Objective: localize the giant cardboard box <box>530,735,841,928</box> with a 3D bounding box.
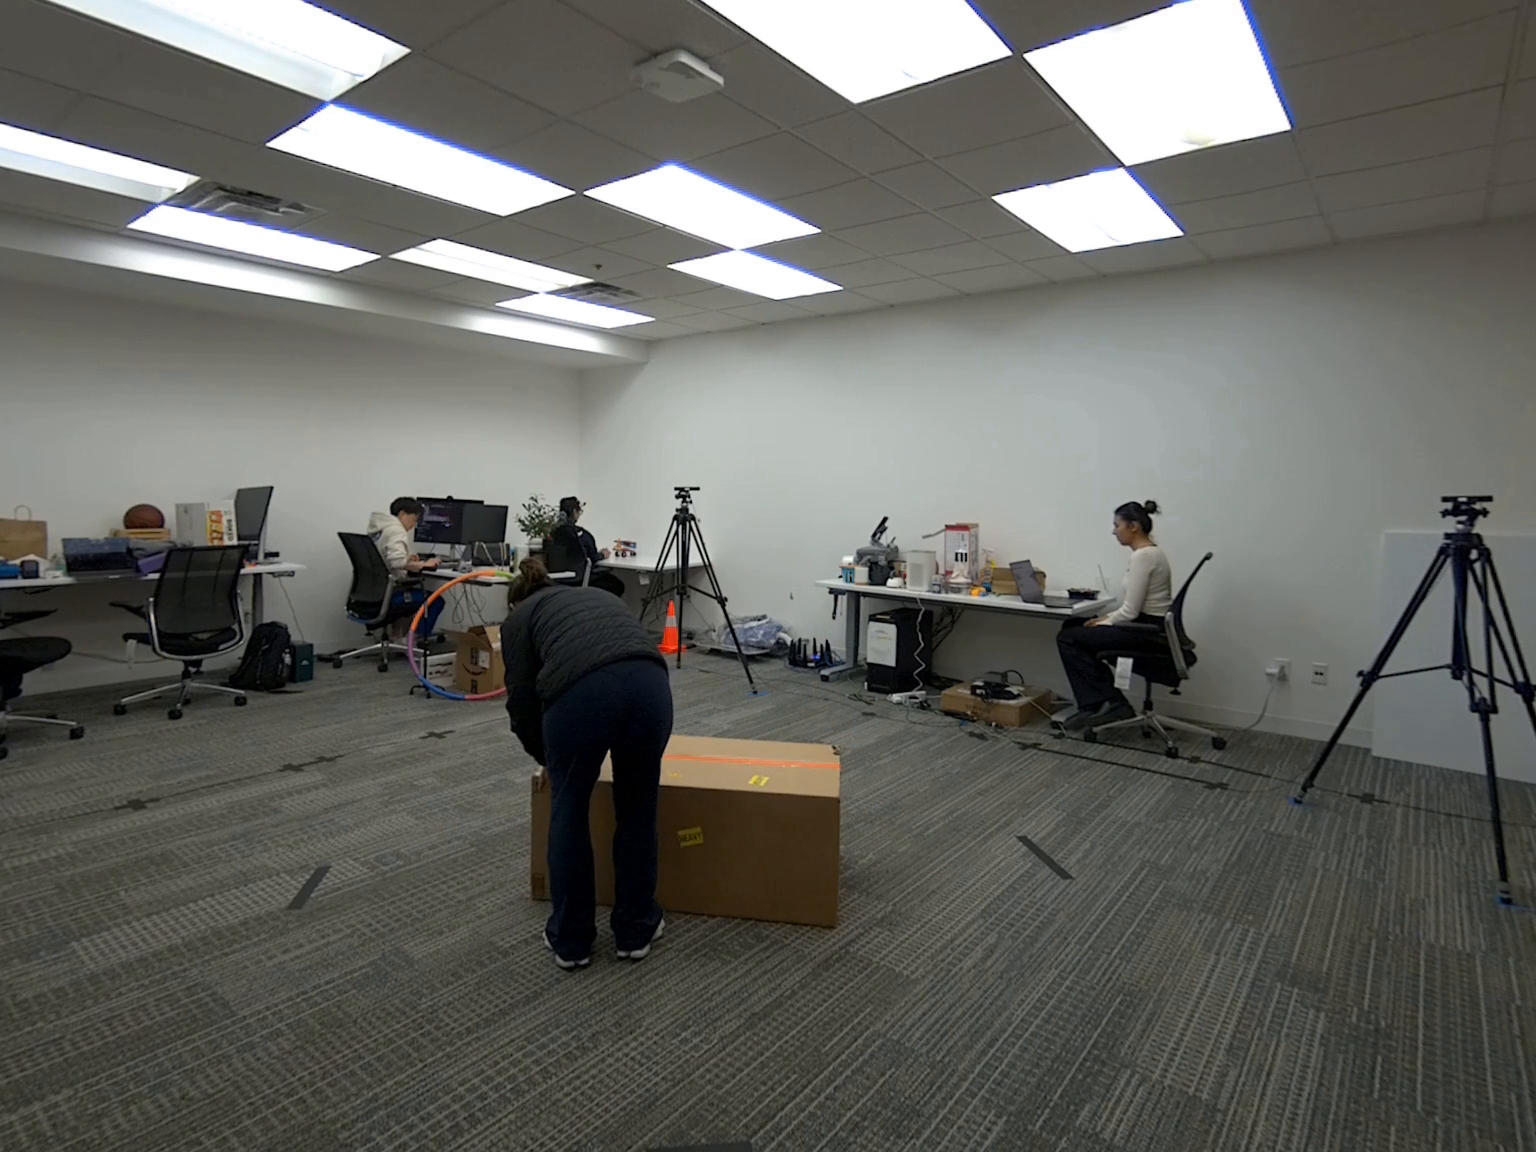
[{"bbox_3d":[-0.253,0.849,3.052,1.036,0.424,0.574,2,5,8],"label":"giant cardboard box"}]
